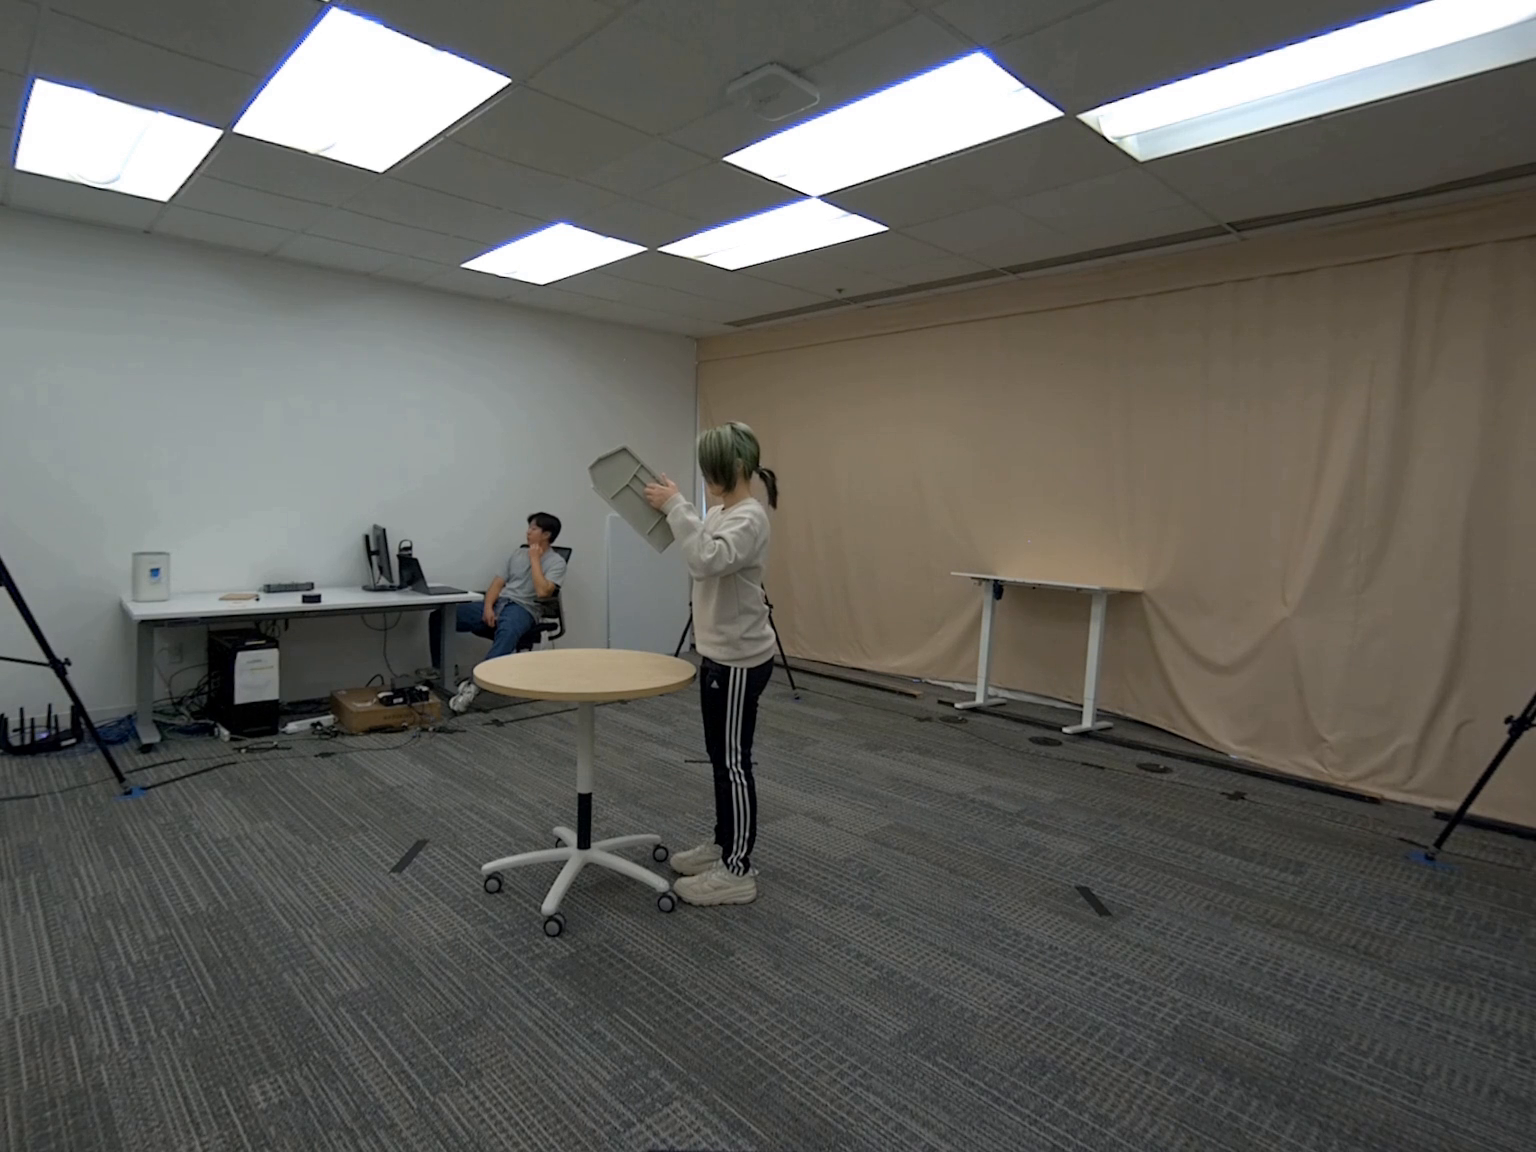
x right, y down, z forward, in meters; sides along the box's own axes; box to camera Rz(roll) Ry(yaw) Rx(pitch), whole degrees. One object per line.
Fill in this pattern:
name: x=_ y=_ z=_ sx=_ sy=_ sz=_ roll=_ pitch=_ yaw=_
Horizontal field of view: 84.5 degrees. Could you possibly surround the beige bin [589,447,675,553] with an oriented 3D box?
beige bin: x=-0.456 y=-0.278 z=2.924 sx=0.373 sy=0.189 sz=0.427 roll=46 pitch=-3 yaw=-12
